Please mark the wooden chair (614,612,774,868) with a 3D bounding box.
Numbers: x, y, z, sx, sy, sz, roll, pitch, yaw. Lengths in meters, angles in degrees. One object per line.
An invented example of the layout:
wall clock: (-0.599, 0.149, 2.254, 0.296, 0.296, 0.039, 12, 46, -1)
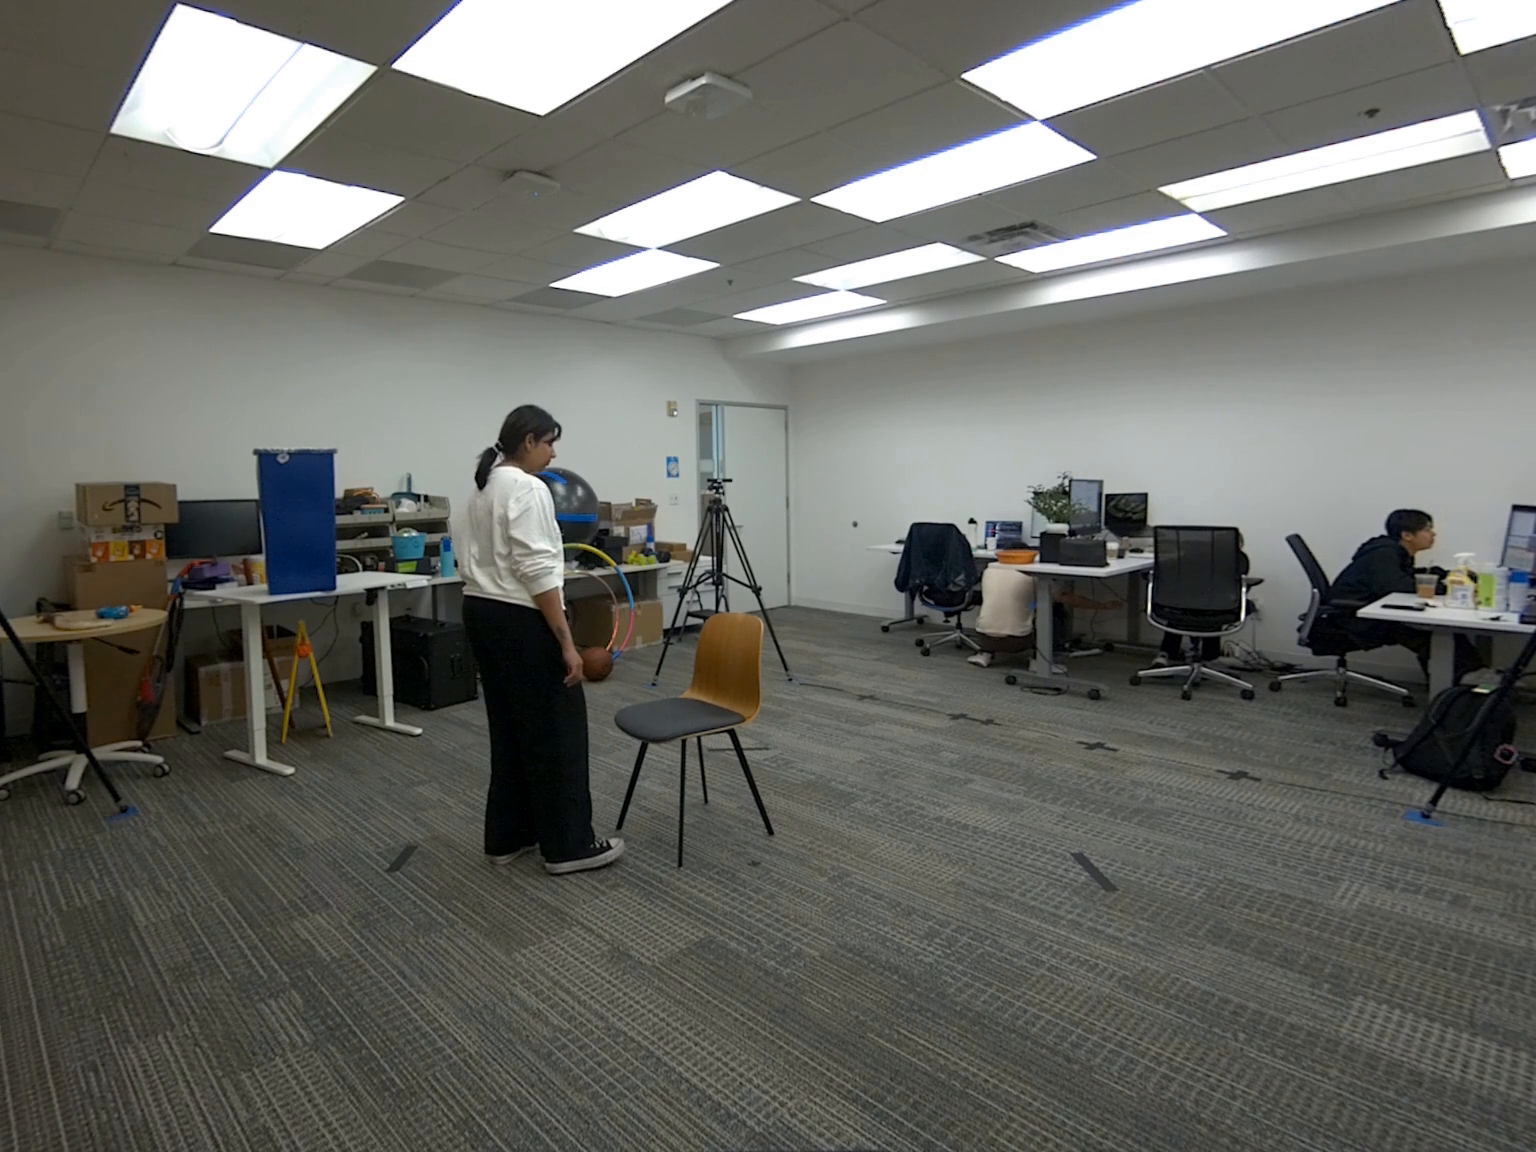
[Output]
wooden chair: (-0.310, 0.589, 3.361, 0.508, 0.876, 0.492, 1, 2, -39)
